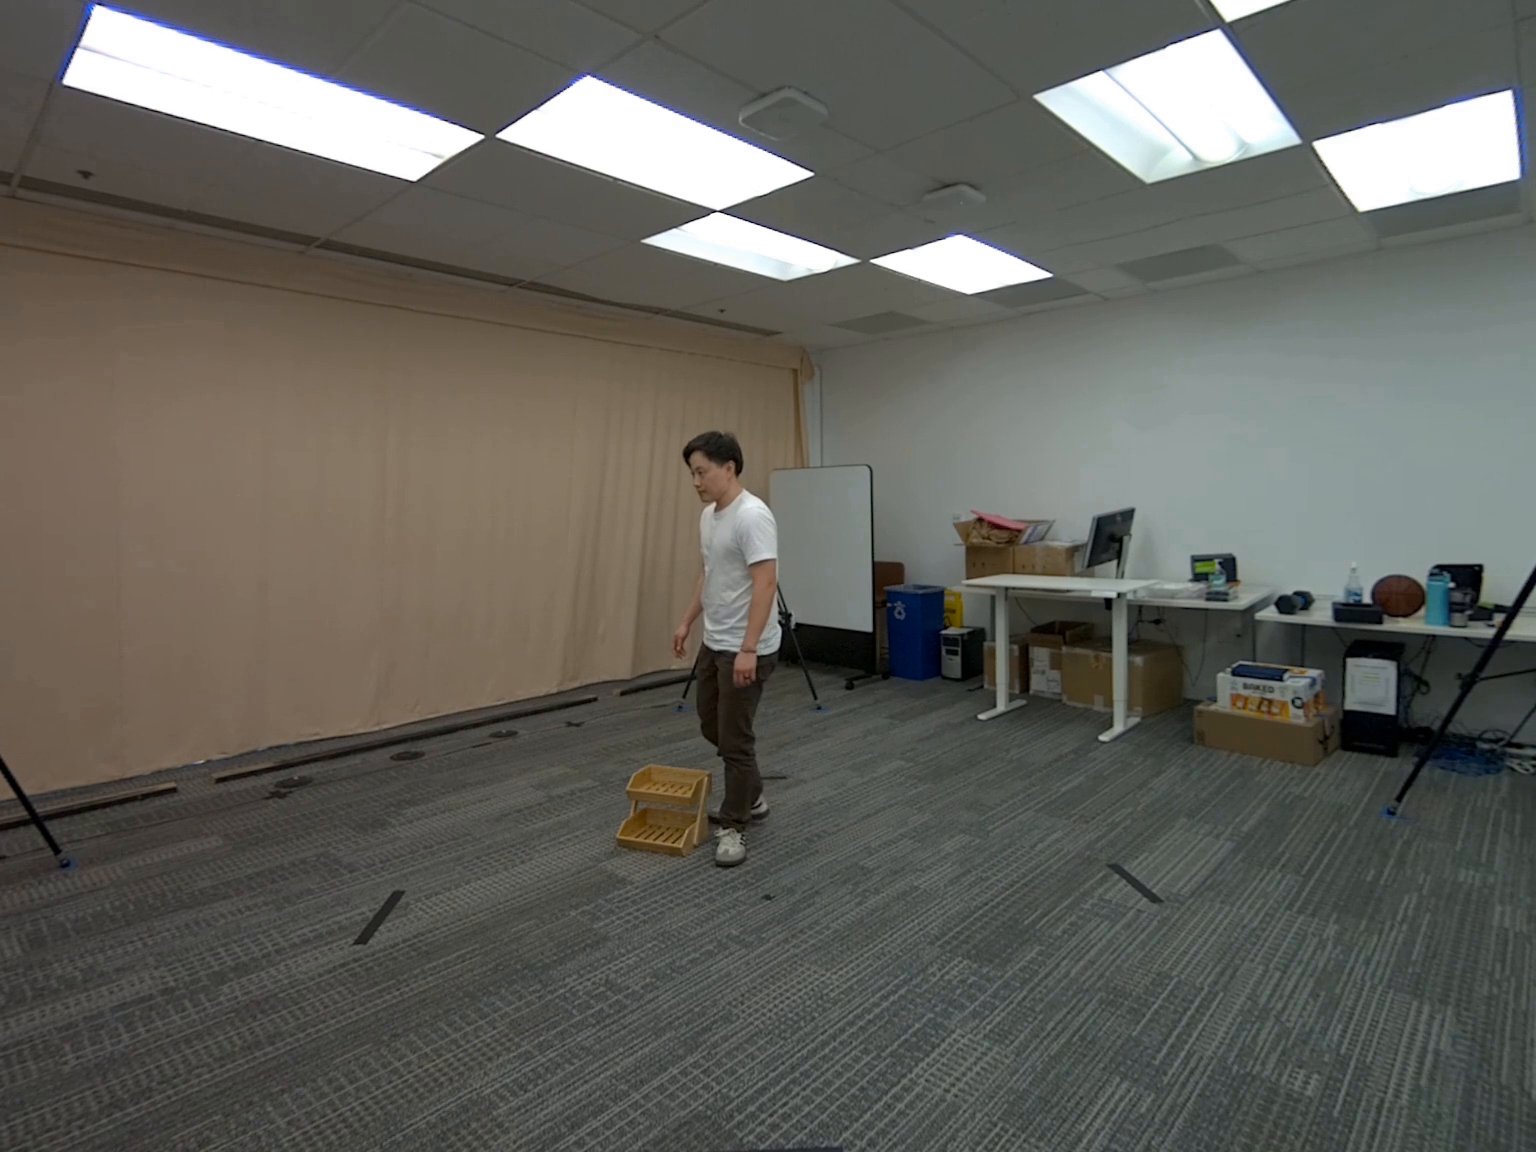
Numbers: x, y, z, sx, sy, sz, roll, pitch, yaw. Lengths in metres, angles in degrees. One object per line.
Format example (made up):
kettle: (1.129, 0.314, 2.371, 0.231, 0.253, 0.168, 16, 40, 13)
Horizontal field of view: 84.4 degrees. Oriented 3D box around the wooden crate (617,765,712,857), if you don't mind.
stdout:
wooden crate: (-0.429, 0.970, 3.510, 0.332, 0.273, 0.296, 0, 4, 21)
